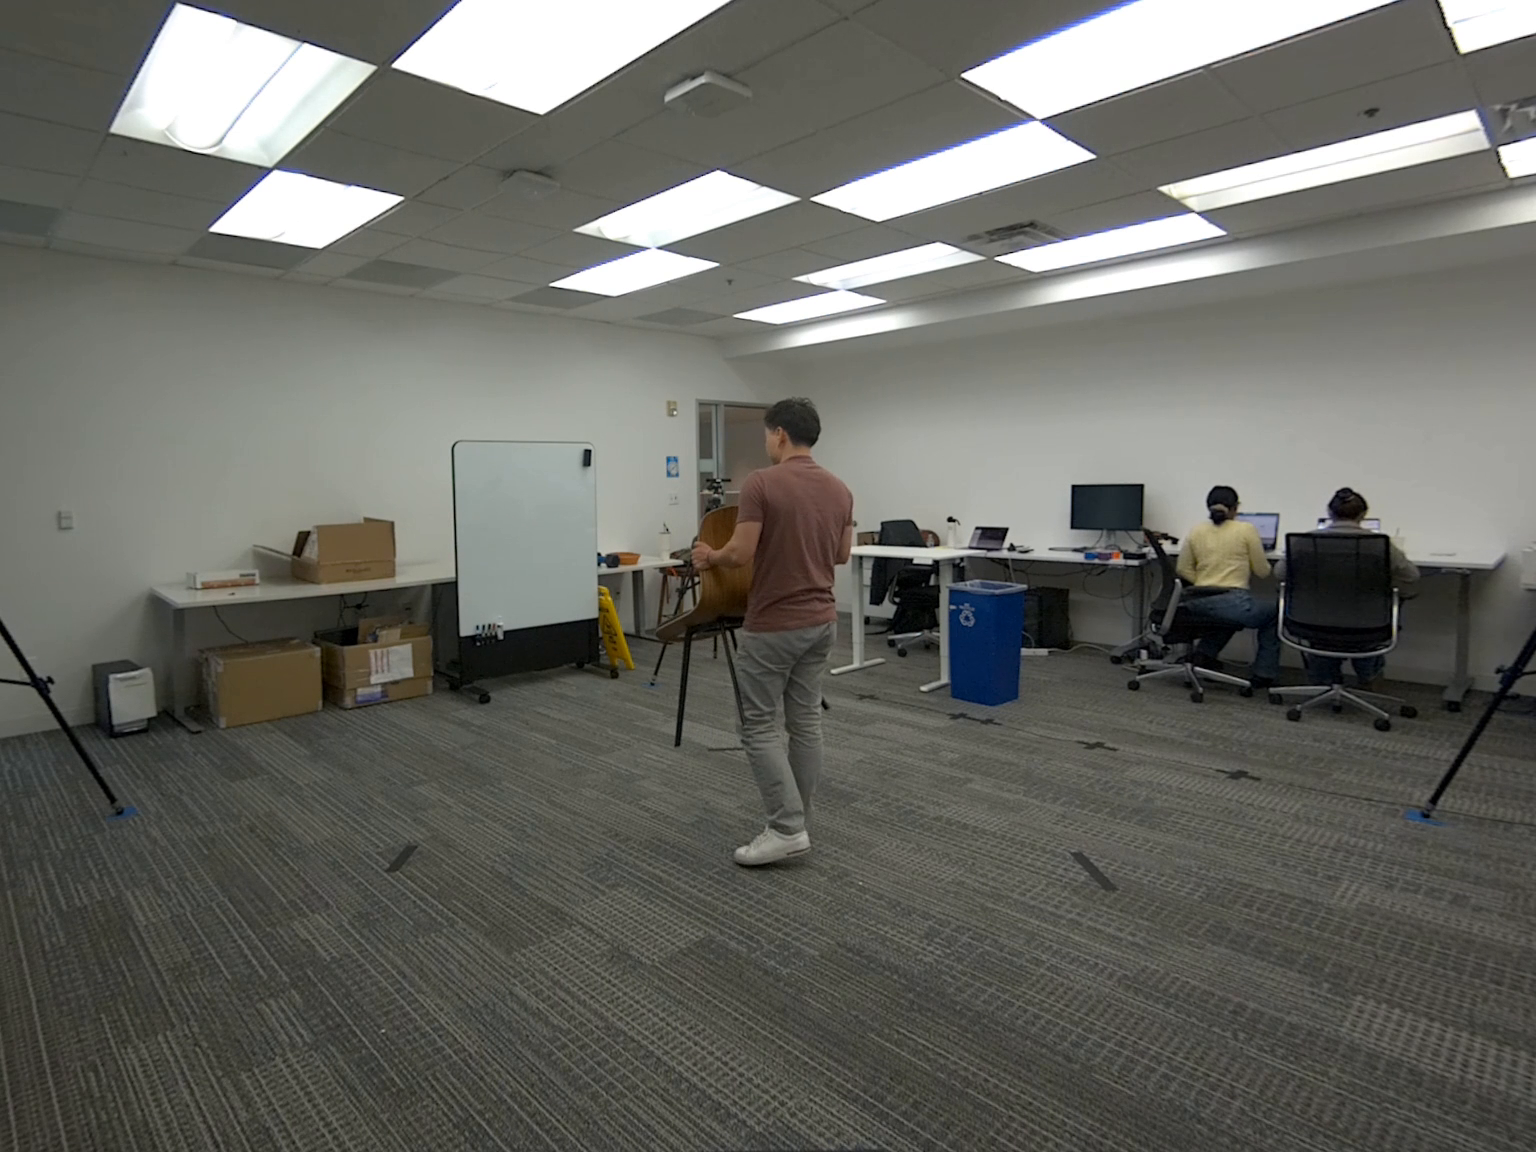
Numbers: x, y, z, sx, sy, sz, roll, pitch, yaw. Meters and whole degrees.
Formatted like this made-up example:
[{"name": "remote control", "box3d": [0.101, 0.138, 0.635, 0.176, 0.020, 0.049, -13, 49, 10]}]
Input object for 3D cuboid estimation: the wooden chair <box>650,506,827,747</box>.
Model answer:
[{"name": "wooden chair", "box3d": [-0.175, 0.207, 3.504, 0.465, 0.888, 0.531, -2, -15, -42]}]
